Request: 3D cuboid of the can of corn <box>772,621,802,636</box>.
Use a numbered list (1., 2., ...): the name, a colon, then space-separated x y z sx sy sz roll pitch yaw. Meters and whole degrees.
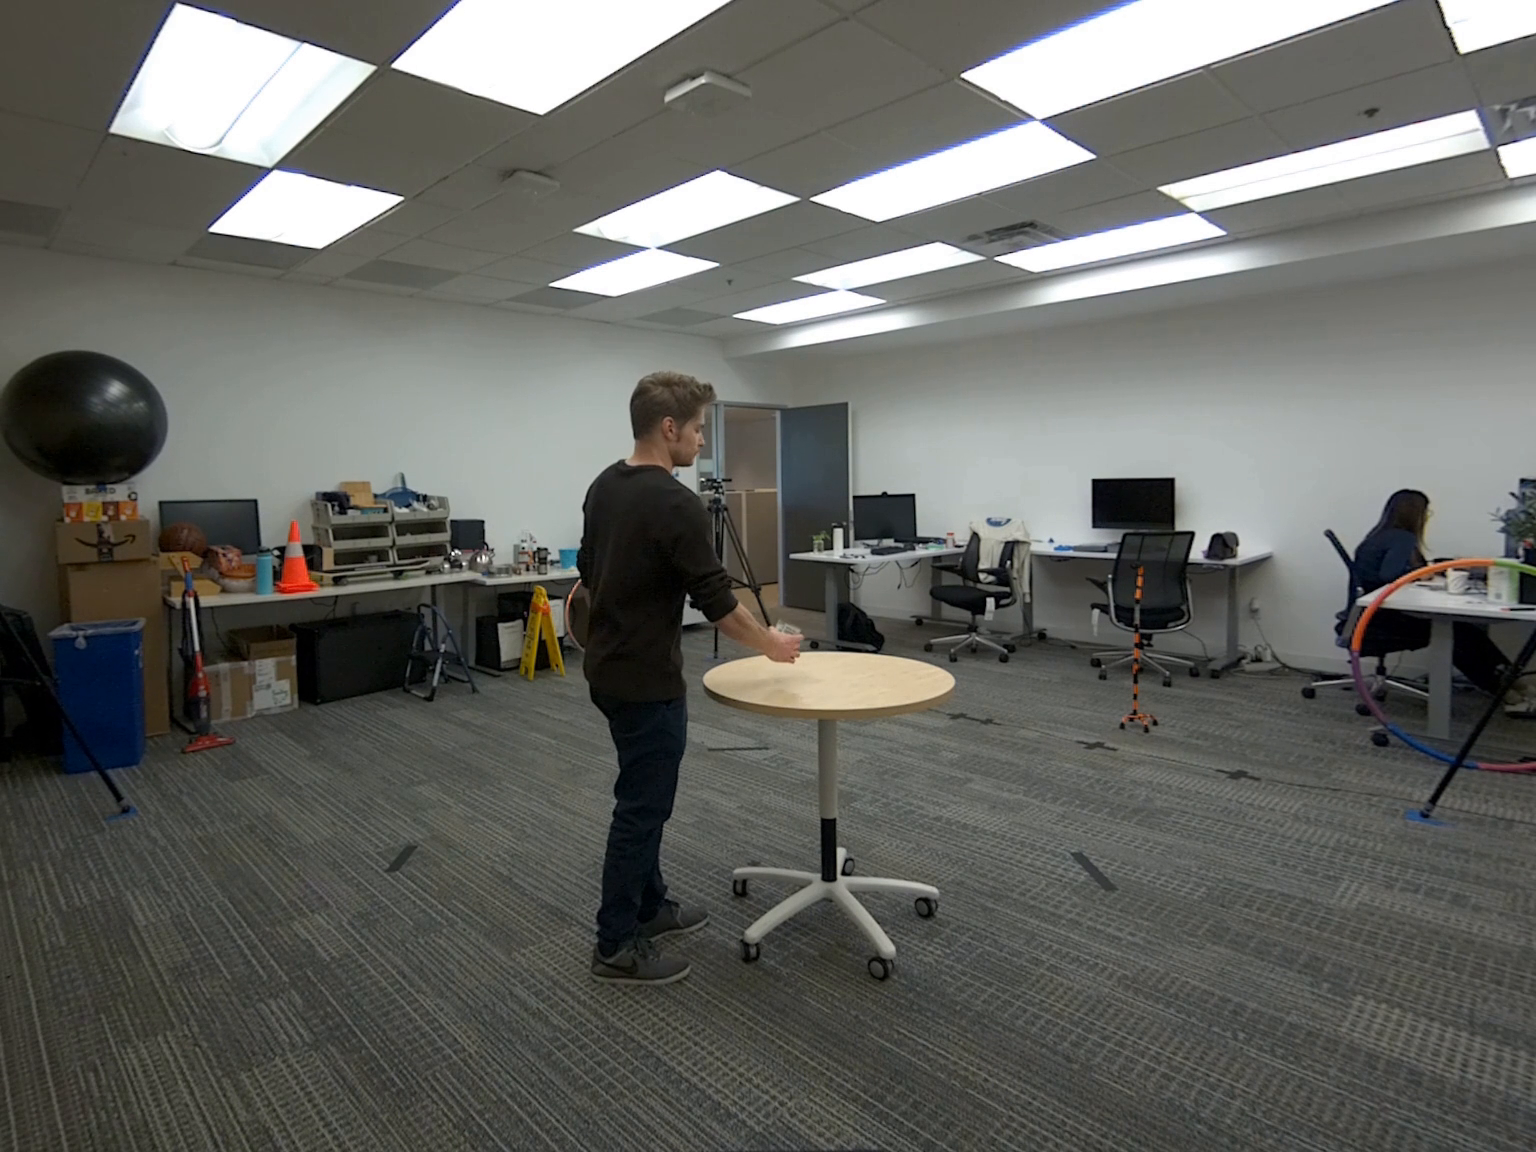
1. can of corn: 0.053 0.193 2.585 0.074 0.111 0.074 23 -3 -1
